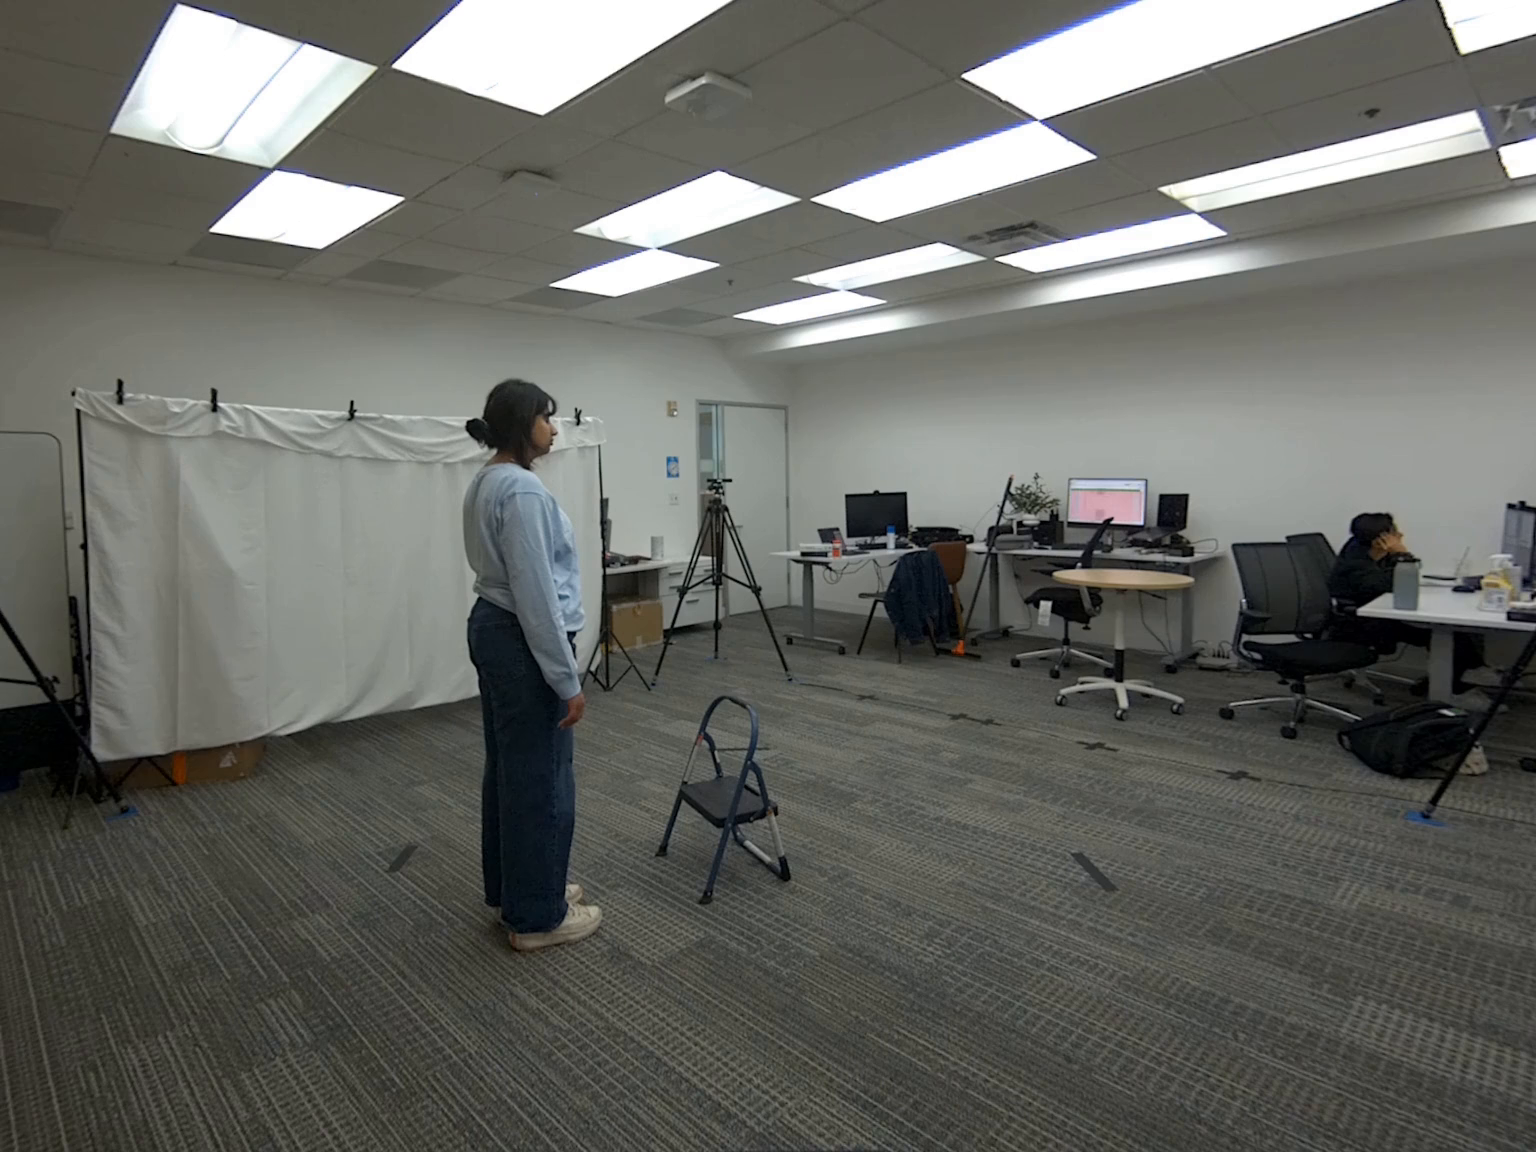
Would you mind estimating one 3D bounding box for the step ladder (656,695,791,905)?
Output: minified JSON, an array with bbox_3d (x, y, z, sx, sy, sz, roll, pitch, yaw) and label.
[{"bbox_3d":[-0.169,0.746,3.057,0.341,0.603,0.442,-3,6,-28],"label":"step ladder"}]
